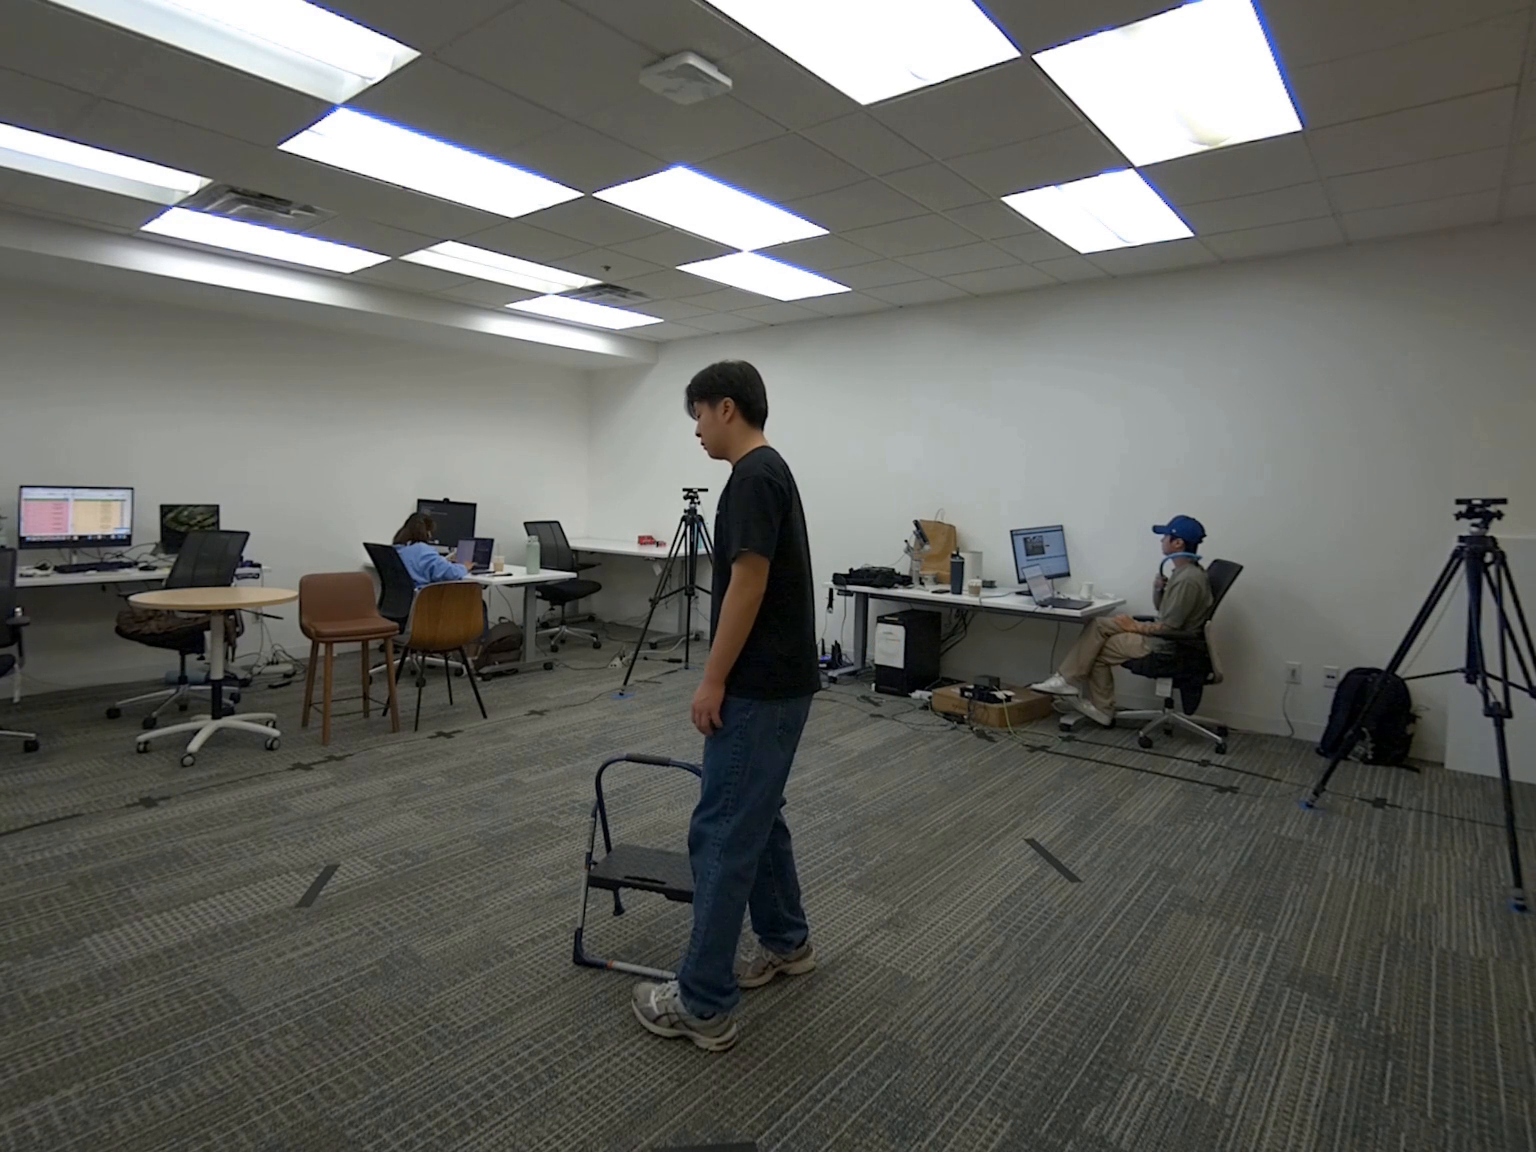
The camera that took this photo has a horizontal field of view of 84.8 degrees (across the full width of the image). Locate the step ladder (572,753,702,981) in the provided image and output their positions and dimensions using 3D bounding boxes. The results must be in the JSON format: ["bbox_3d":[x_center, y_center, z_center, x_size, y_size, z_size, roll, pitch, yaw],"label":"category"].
[{"bbox_3d":[-0.340,0.820,2.556,0.438,0.604,0.344,2,4,15],"label":"step ladder"}]
